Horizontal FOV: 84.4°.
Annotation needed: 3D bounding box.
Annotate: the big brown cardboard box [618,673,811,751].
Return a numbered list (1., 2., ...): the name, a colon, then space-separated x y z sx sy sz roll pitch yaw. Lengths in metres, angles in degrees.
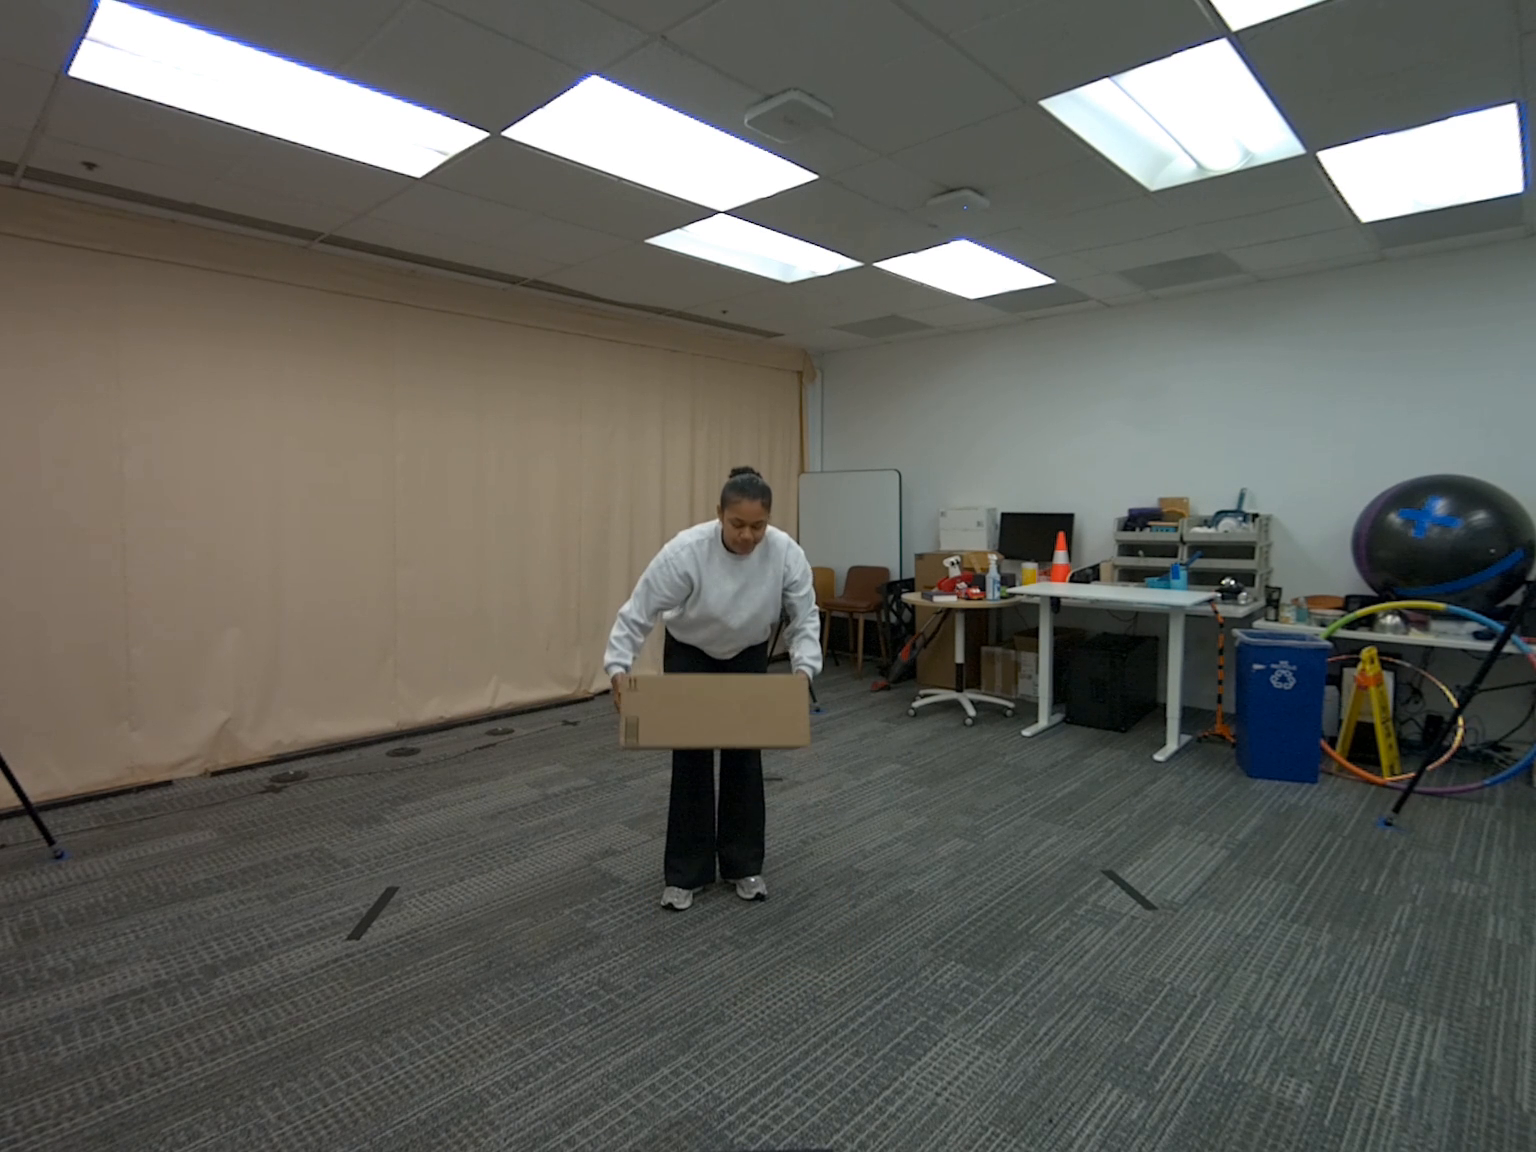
1. big brown cardboard box: -0.183 0.447 2.697 0.585 0.235 0.417 2 -11 -6
